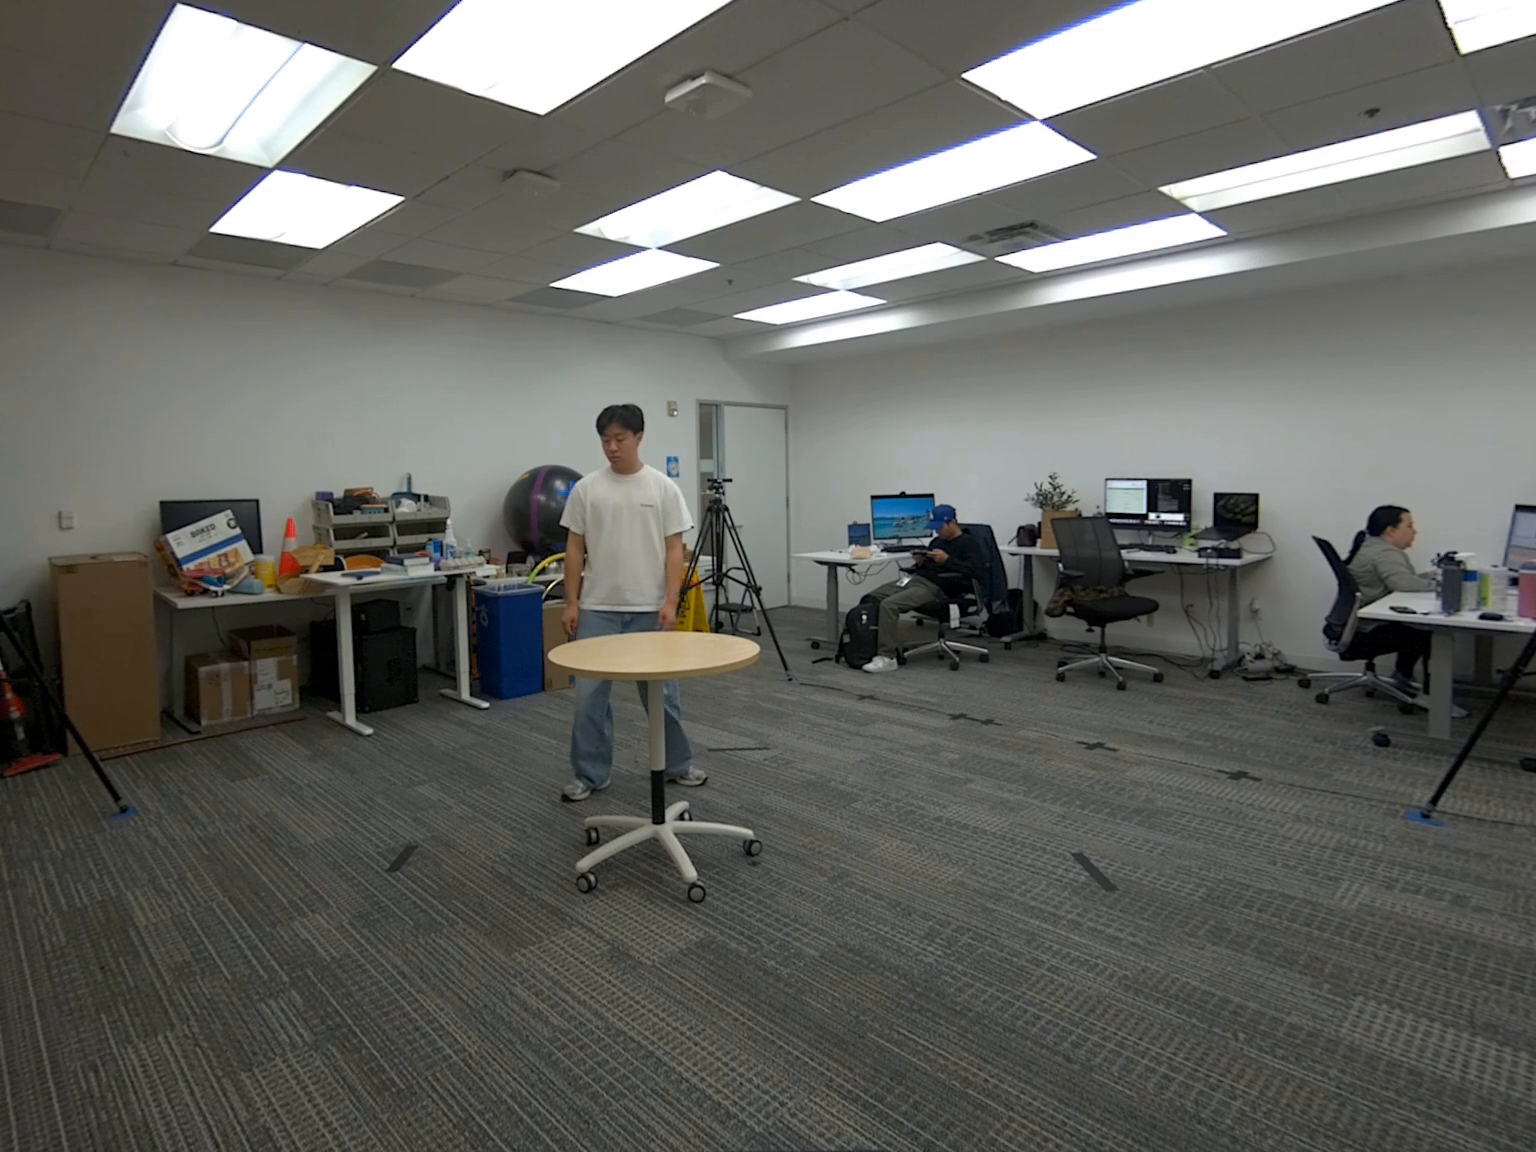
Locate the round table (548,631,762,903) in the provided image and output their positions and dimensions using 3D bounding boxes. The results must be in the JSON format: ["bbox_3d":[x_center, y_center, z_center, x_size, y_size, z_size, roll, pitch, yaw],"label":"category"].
[{"bbox_3d":[-0.399,0.660,3.131,0.763,0.791,0.768,-1,4,-2],"label":"round table"}]
